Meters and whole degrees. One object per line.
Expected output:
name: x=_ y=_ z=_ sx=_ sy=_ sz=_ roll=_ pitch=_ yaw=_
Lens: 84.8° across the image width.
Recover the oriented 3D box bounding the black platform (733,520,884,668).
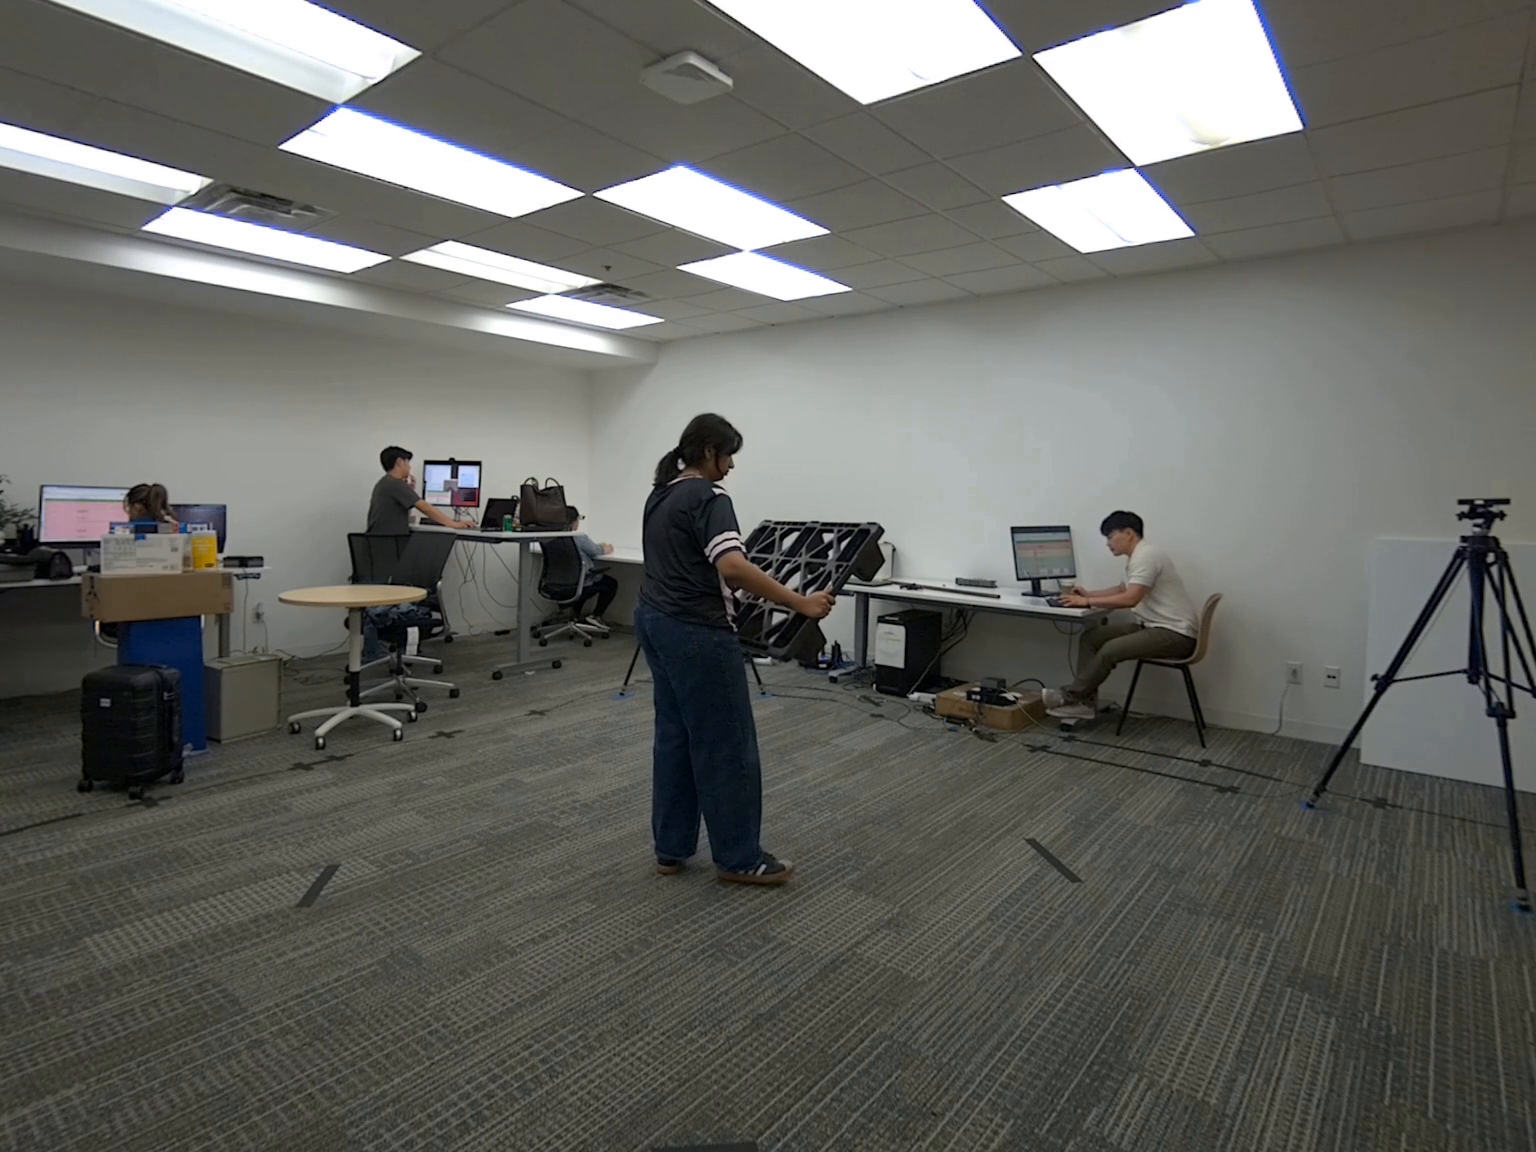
black platform: x=0.044 y=0.055 z=3.245 sx=0.139 sy=0.606 sz=0.830 roll=46 pitch=-19 yaw=-26
